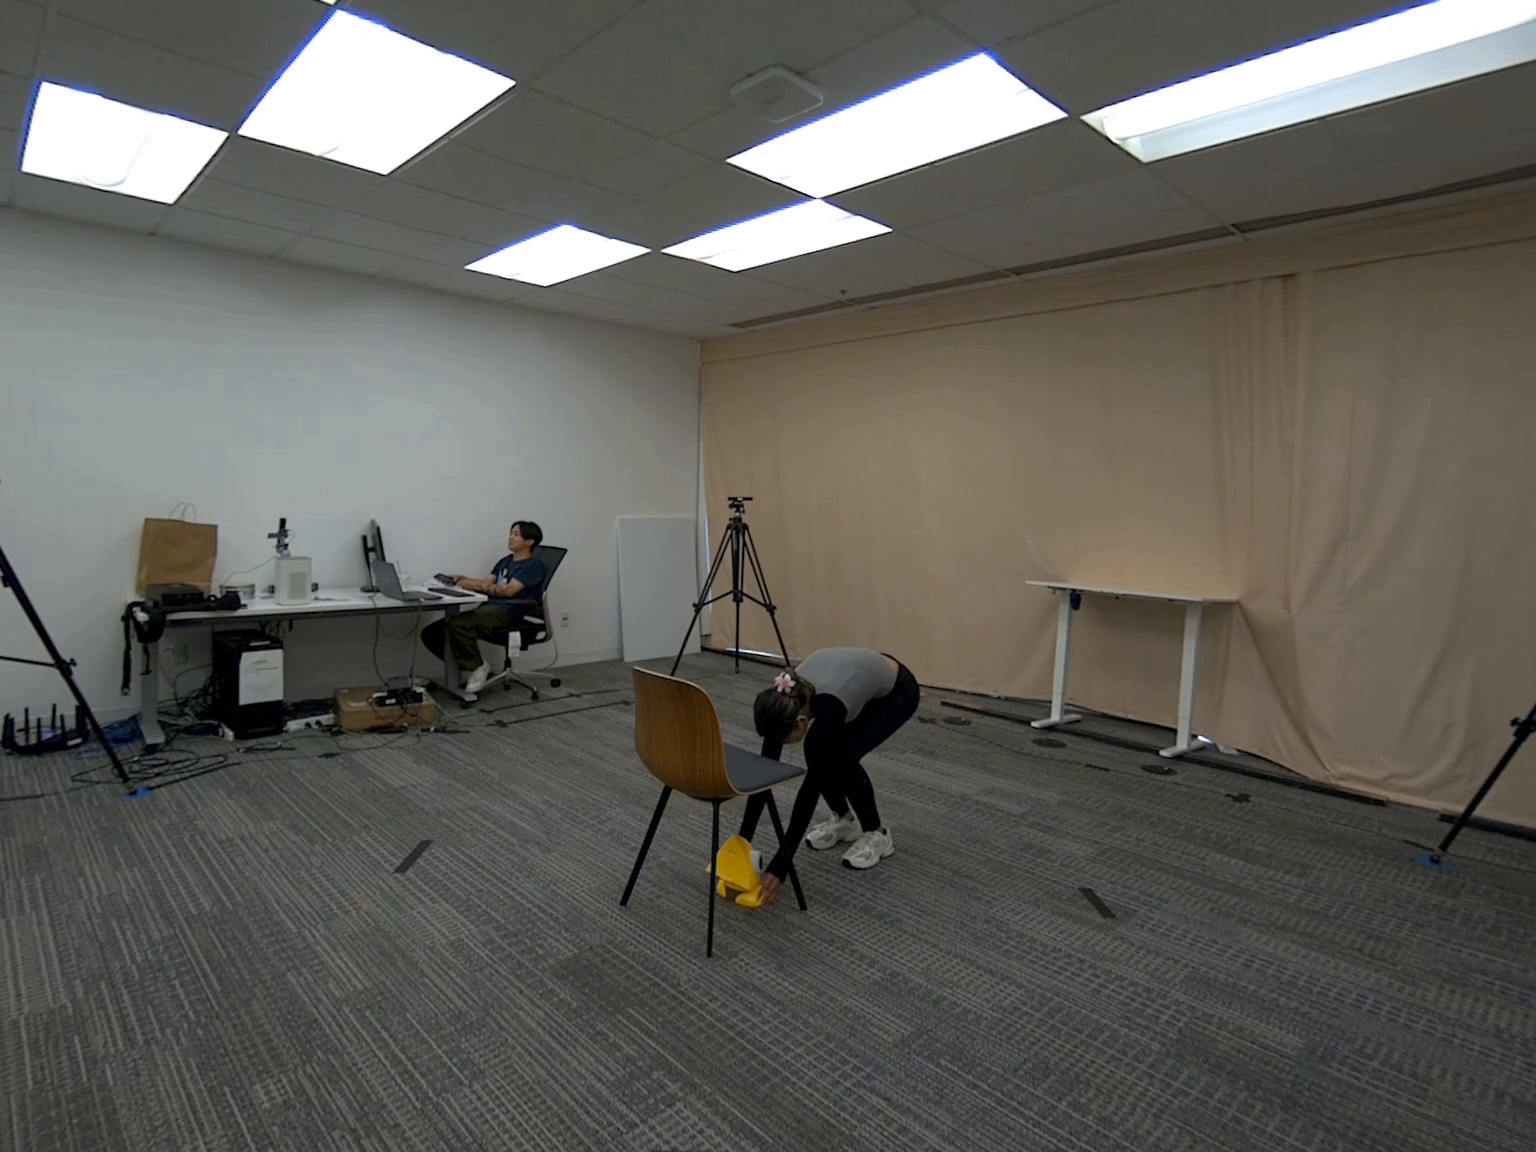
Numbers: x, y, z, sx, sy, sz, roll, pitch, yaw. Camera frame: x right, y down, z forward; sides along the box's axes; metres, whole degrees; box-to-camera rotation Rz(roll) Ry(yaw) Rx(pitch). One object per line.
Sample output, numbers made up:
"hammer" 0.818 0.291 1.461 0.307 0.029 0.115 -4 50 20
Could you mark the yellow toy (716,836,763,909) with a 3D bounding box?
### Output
"yellow toy" -0.088 1.012 2.965 0.210 0.230 0.189 5 6 42
